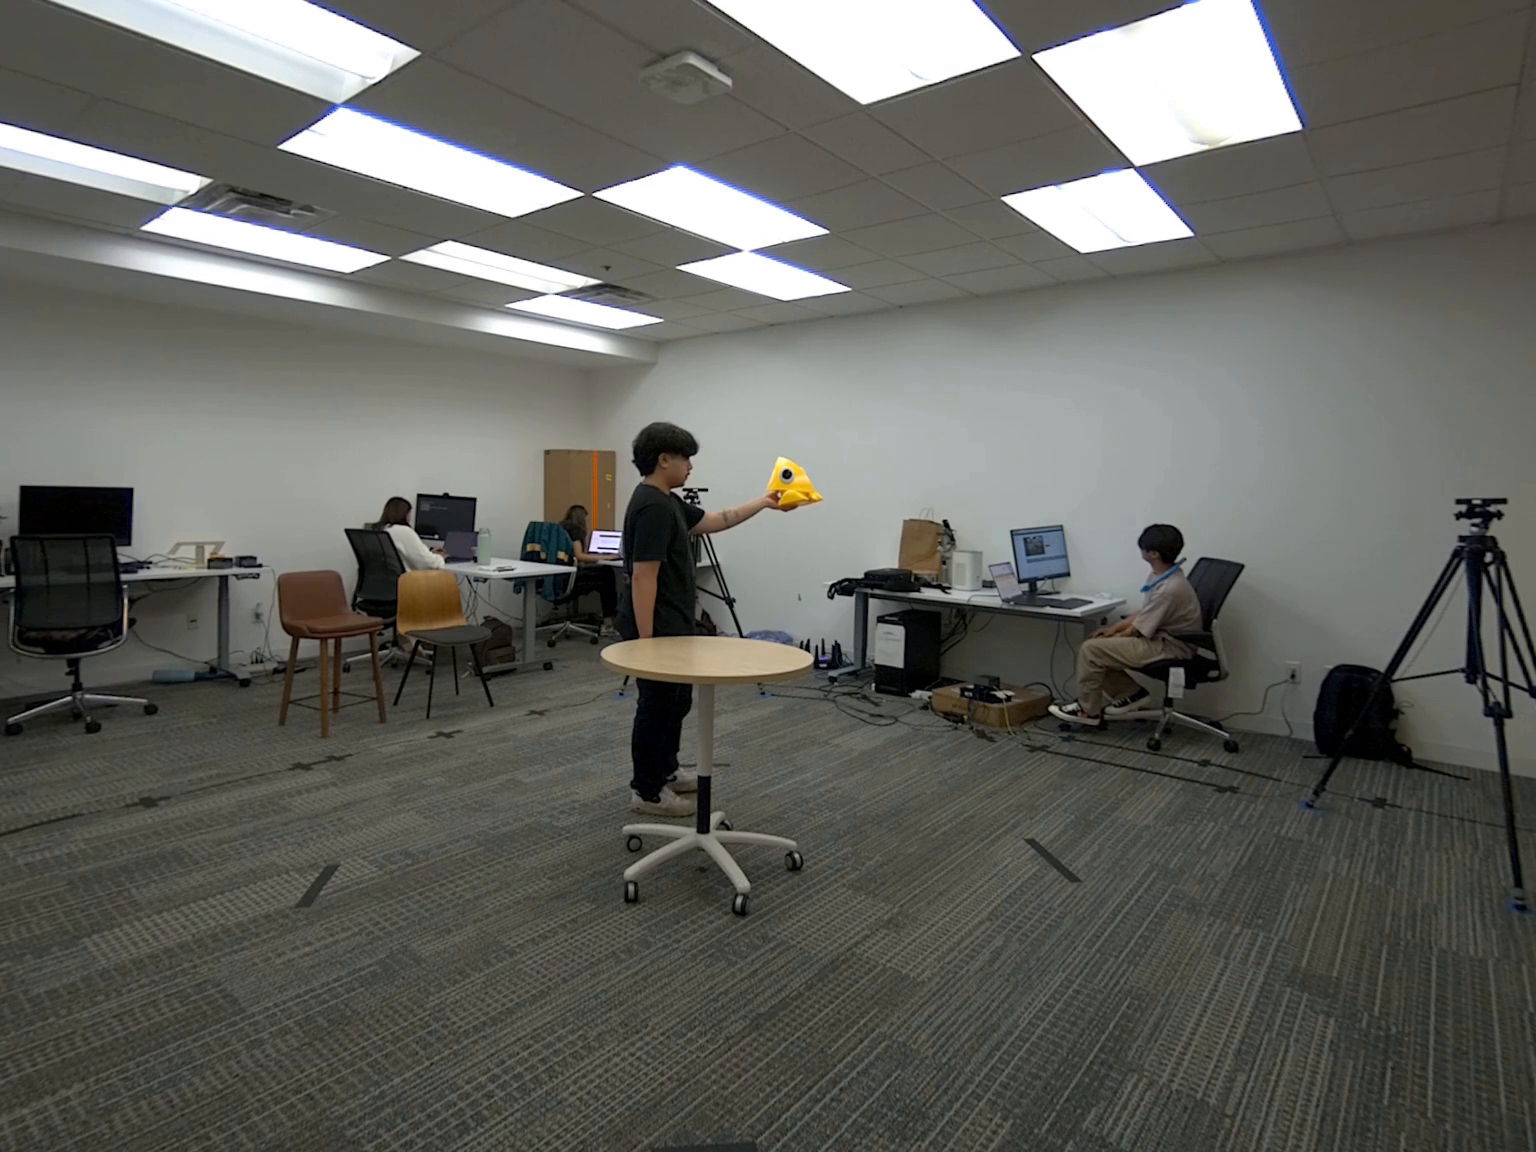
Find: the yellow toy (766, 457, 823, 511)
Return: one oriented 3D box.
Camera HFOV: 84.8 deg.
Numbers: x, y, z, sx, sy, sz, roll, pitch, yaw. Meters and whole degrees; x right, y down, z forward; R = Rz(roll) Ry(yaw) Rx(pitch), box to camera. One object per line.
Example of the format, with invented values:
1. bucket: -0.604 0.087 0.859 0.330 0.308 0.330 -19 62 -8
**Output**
1. yellow toy: 0.102 -0.440 3.810 0.197 0.232 0.199 -14 -7 40
